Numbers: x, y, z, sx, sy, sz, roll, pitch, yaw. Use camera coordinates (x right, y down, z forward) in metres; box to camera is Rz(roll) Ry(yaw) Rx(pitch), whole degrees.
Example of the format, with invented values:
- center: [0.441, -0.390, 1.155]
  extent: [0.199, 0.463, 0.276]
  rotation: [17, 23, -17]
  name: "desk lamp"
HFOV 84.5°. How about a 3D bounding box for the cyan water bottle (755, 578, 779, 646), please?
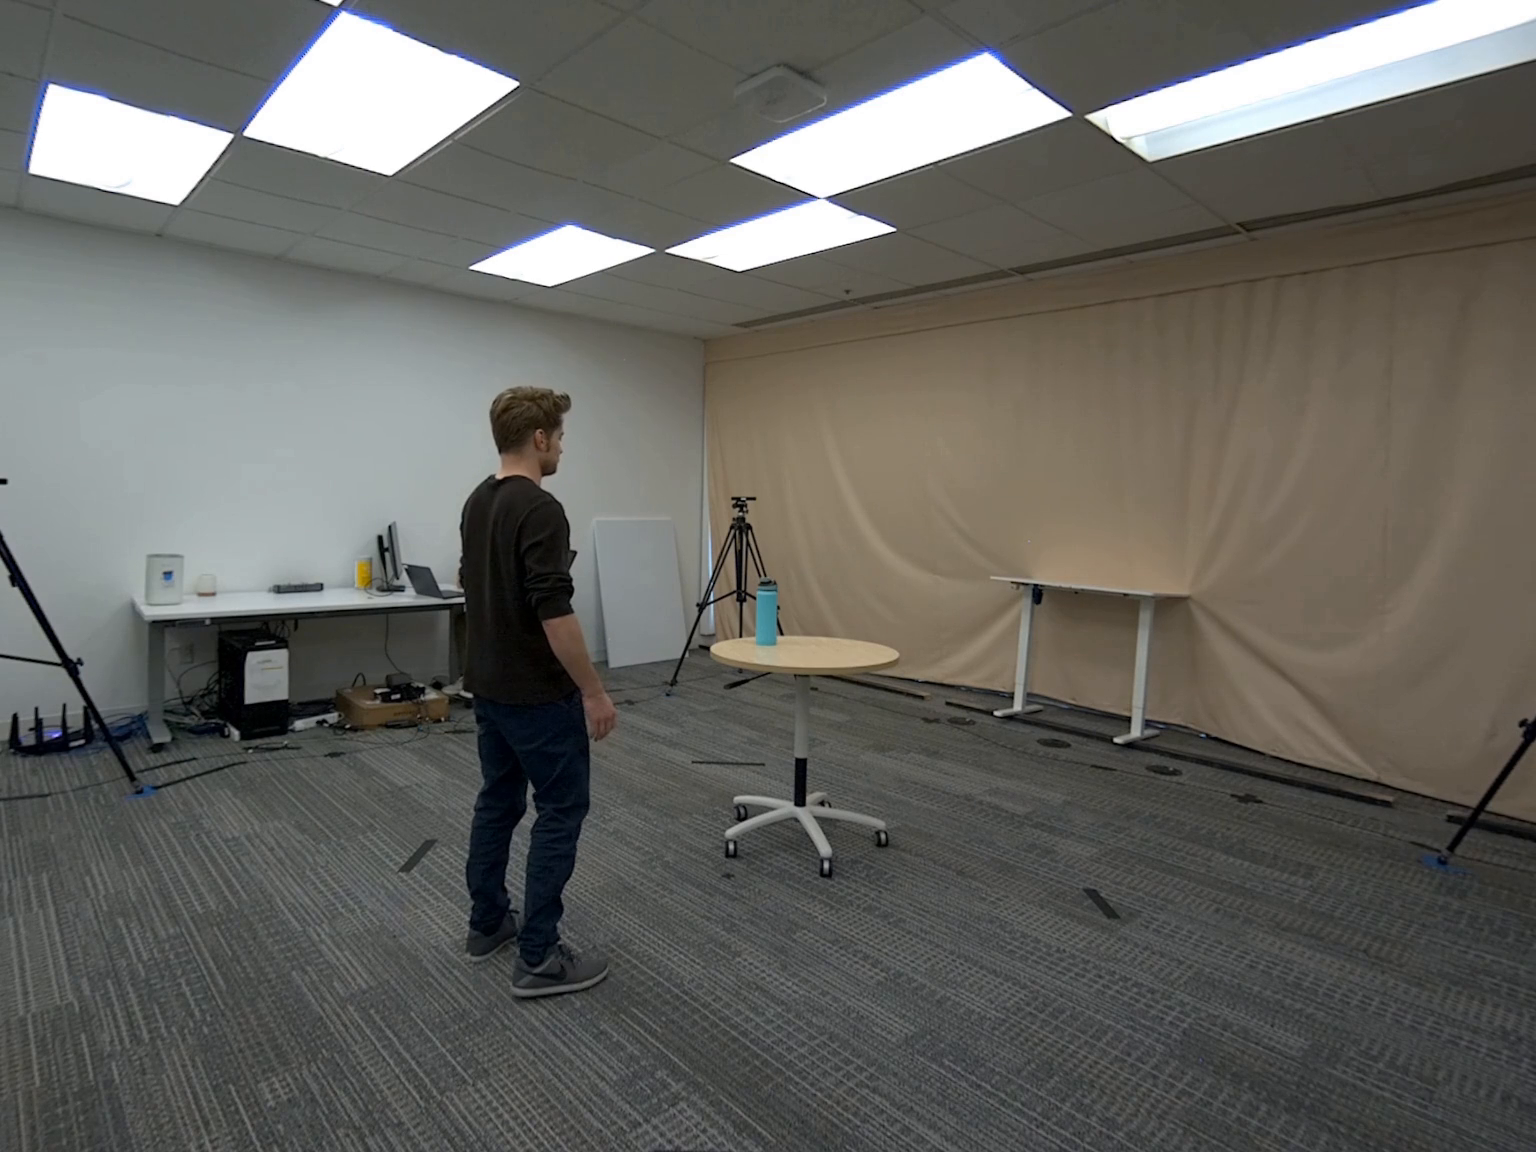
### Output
- center: [-0.012, 0.149, 3.569]
  extent: [0.092, 0.283, 0.092]
  rotation: [4, 1, -2]
  name: "cyan water bottle"
